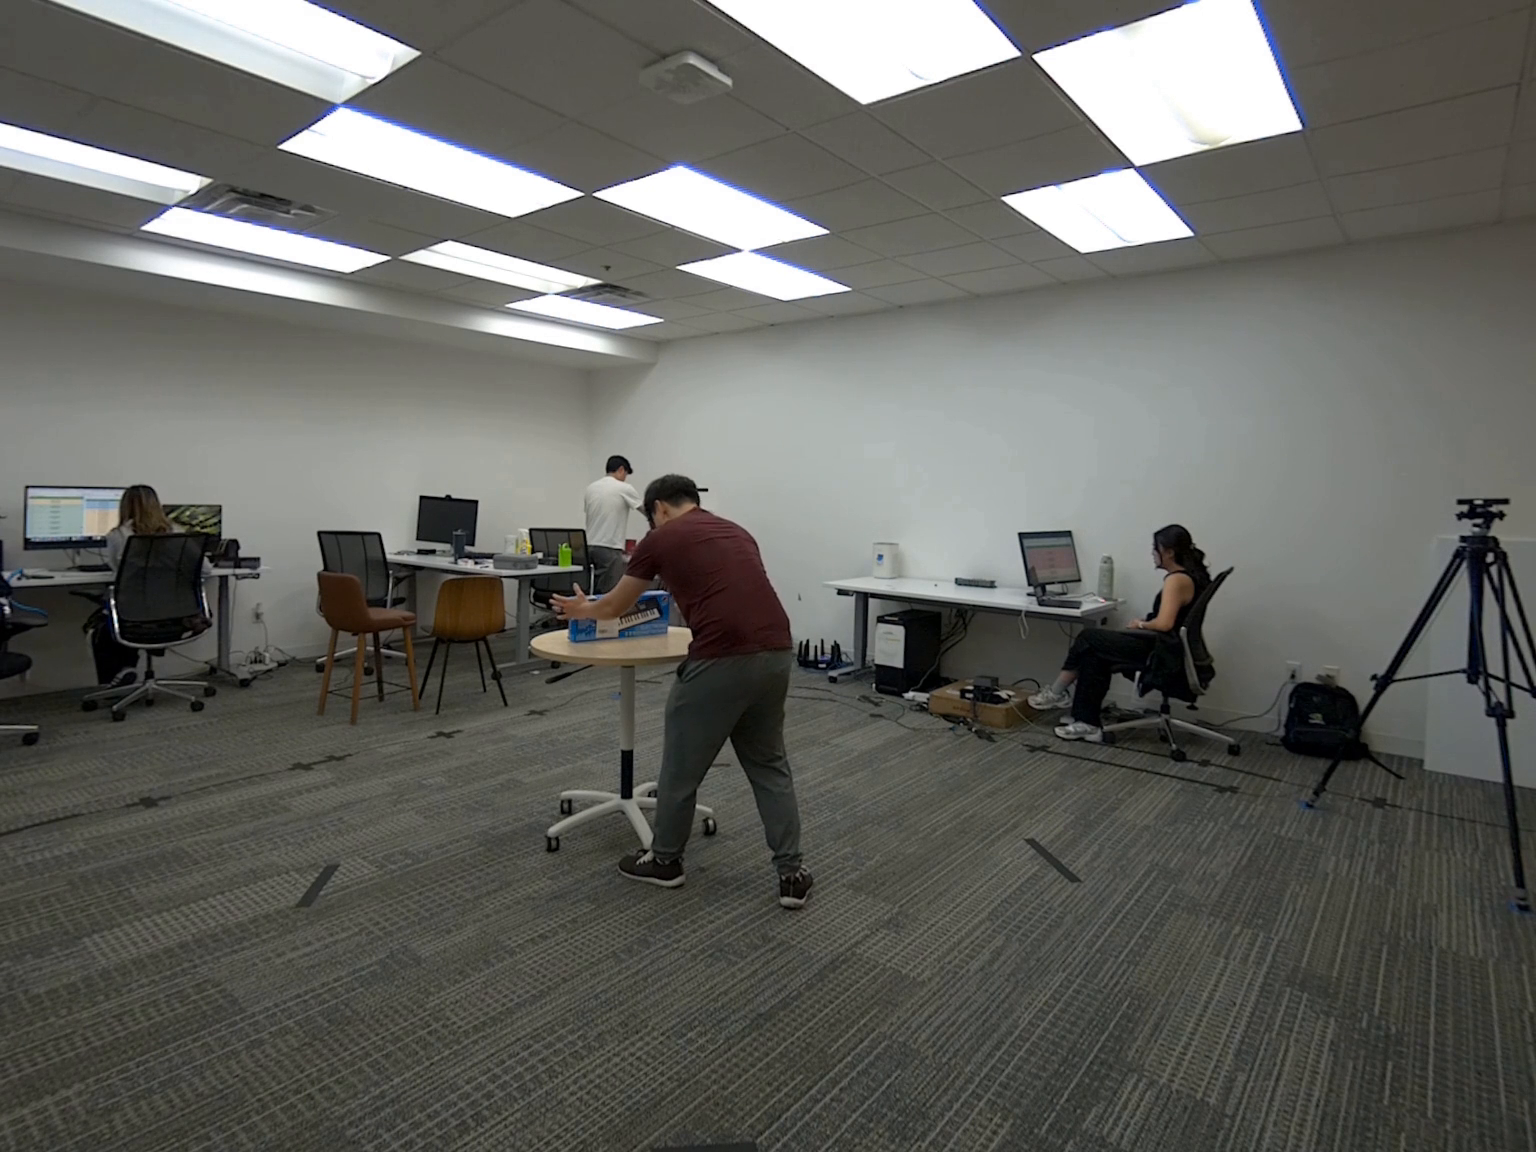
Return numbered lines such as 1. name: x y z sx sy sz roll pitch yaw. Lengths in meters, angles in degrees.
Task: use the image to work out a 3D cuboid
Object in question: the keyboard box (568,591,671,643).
1. keyboard box: -0.617 0.164 3.476 0.424 0.175 0.061 -3 7 -36
